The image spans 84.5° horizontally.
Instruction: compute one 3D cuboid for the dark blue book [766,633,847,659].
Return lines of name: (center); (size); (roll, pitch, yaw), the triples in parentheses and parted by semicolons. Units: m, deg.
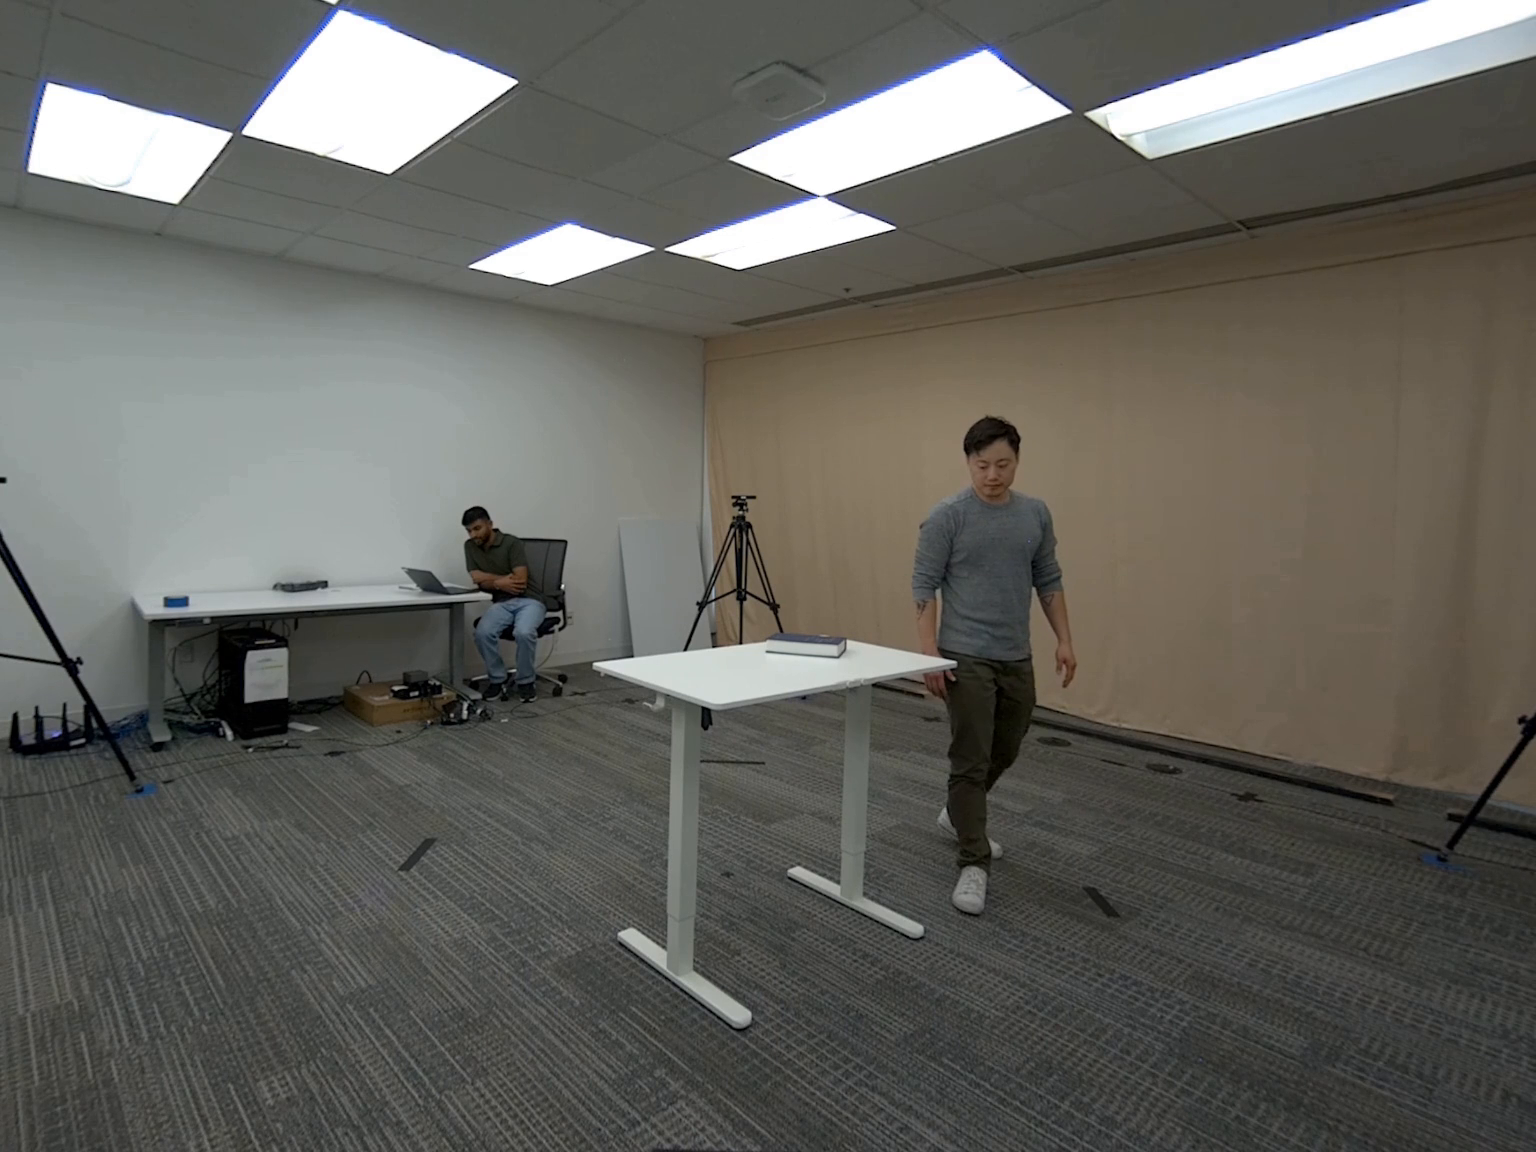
dark blue book: (0.127, 0.231, 2.816); (0.248, 0.045, 0.161); (3, 4, 17)
